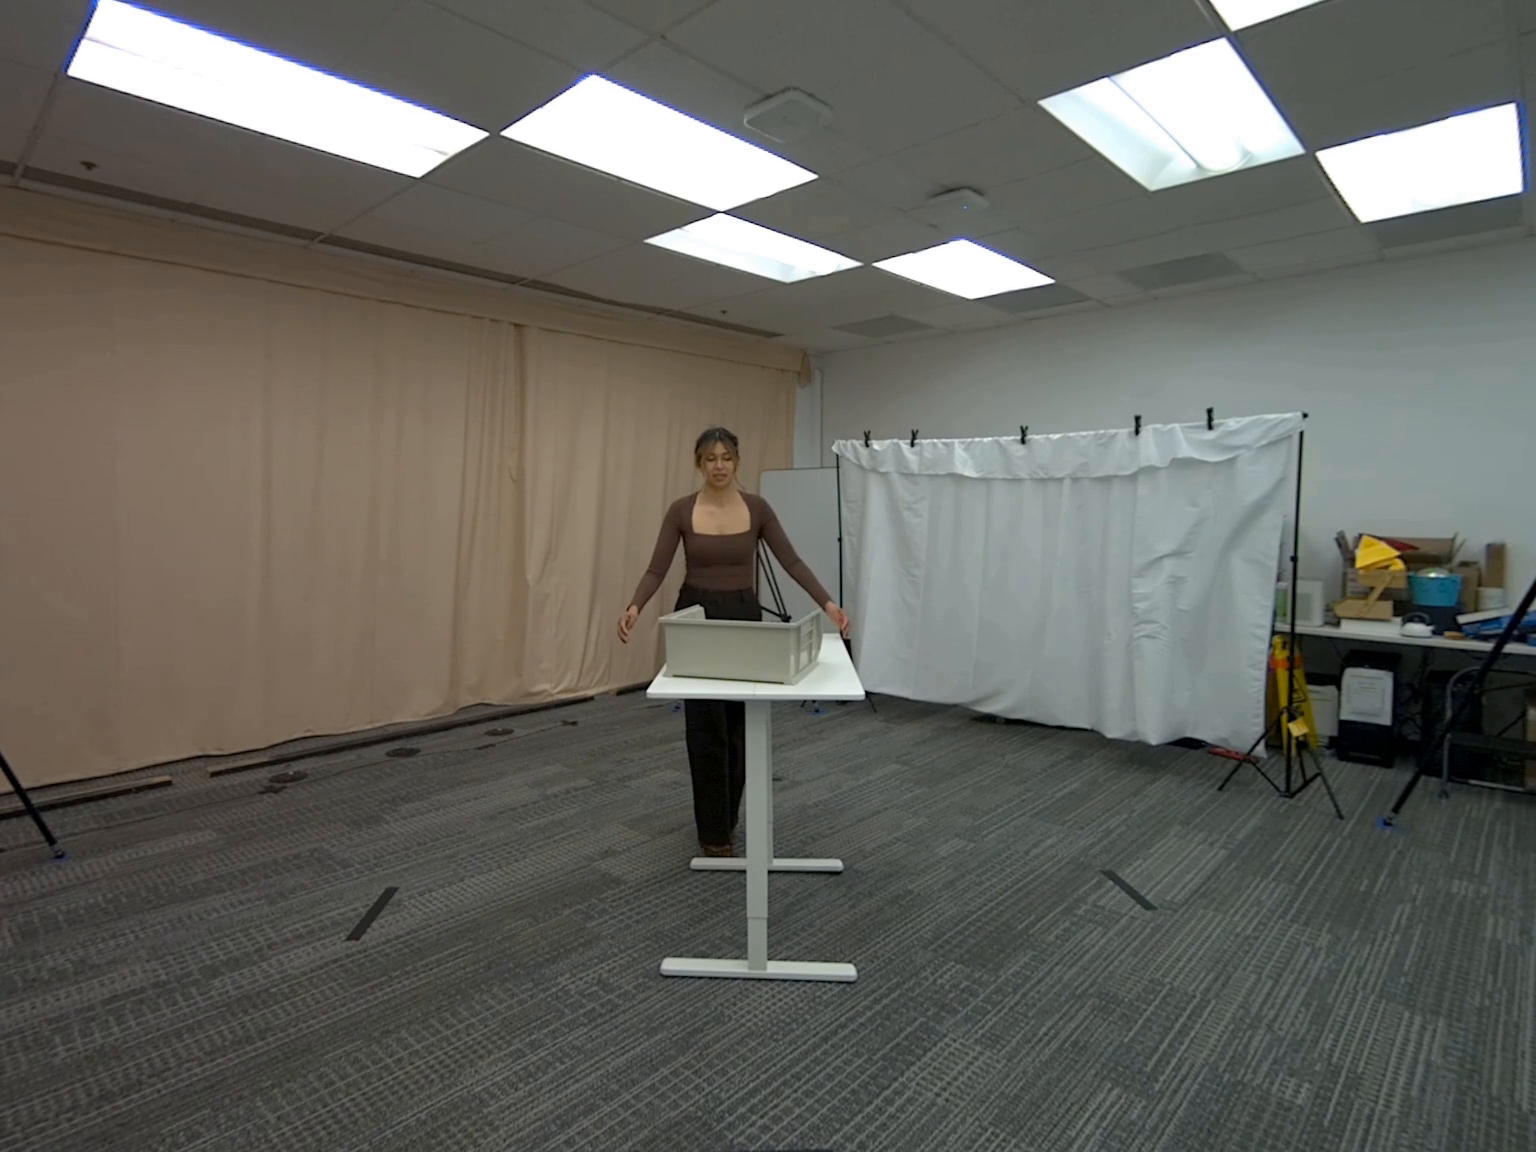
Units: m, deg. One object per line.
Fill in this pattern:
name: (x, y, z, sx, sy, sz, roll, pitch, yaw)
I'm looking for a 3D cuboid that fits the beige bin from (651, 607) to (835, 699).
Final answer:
beige bin: (-0.067, 0.206, 2.627, 0.430, 0.188, 0.371, 1, 6, 17)
